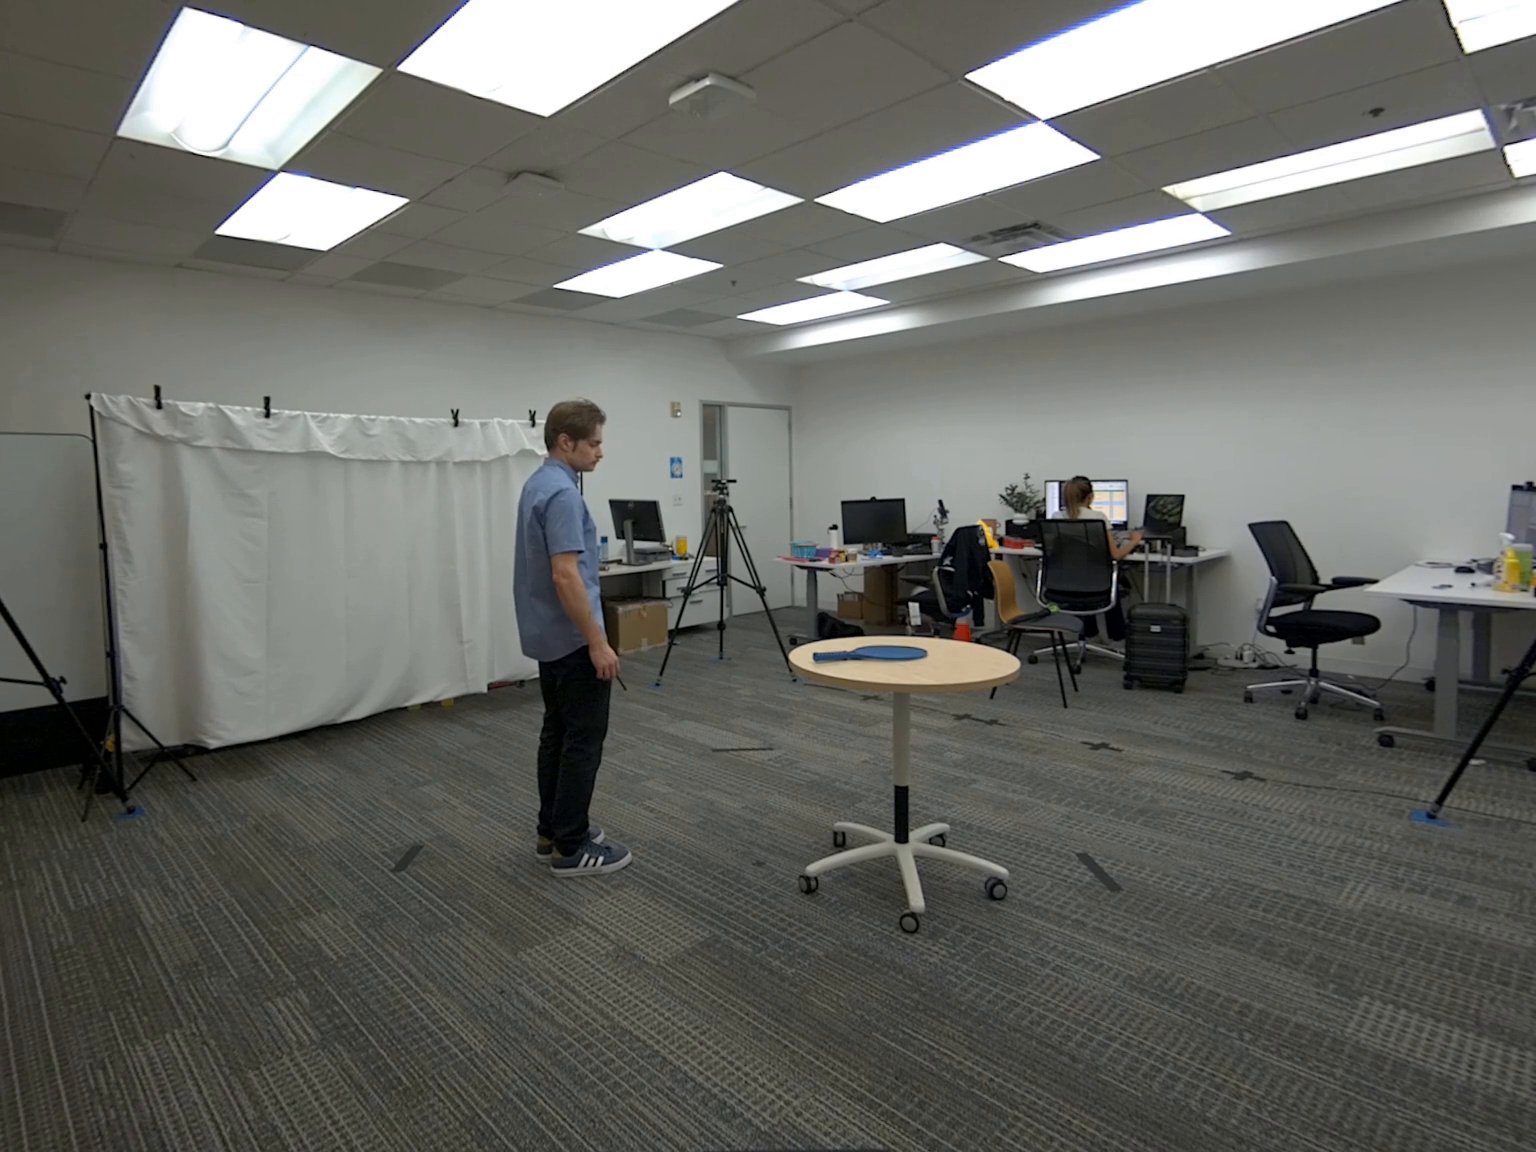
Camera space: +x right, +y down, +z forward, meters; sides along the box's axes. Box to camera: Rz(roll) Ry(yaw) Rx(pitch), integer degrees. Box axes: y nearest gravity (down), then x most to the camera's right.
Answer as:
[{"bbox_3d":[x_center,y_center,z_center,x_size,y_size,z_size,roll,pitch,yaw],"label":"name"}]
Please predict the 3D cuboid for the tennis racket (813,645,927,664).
[{"bbox_3d":[0.353,0.265,2.922,0.424,0.031,0.219,-1,8,-23],"label":"tennis racket"}]
